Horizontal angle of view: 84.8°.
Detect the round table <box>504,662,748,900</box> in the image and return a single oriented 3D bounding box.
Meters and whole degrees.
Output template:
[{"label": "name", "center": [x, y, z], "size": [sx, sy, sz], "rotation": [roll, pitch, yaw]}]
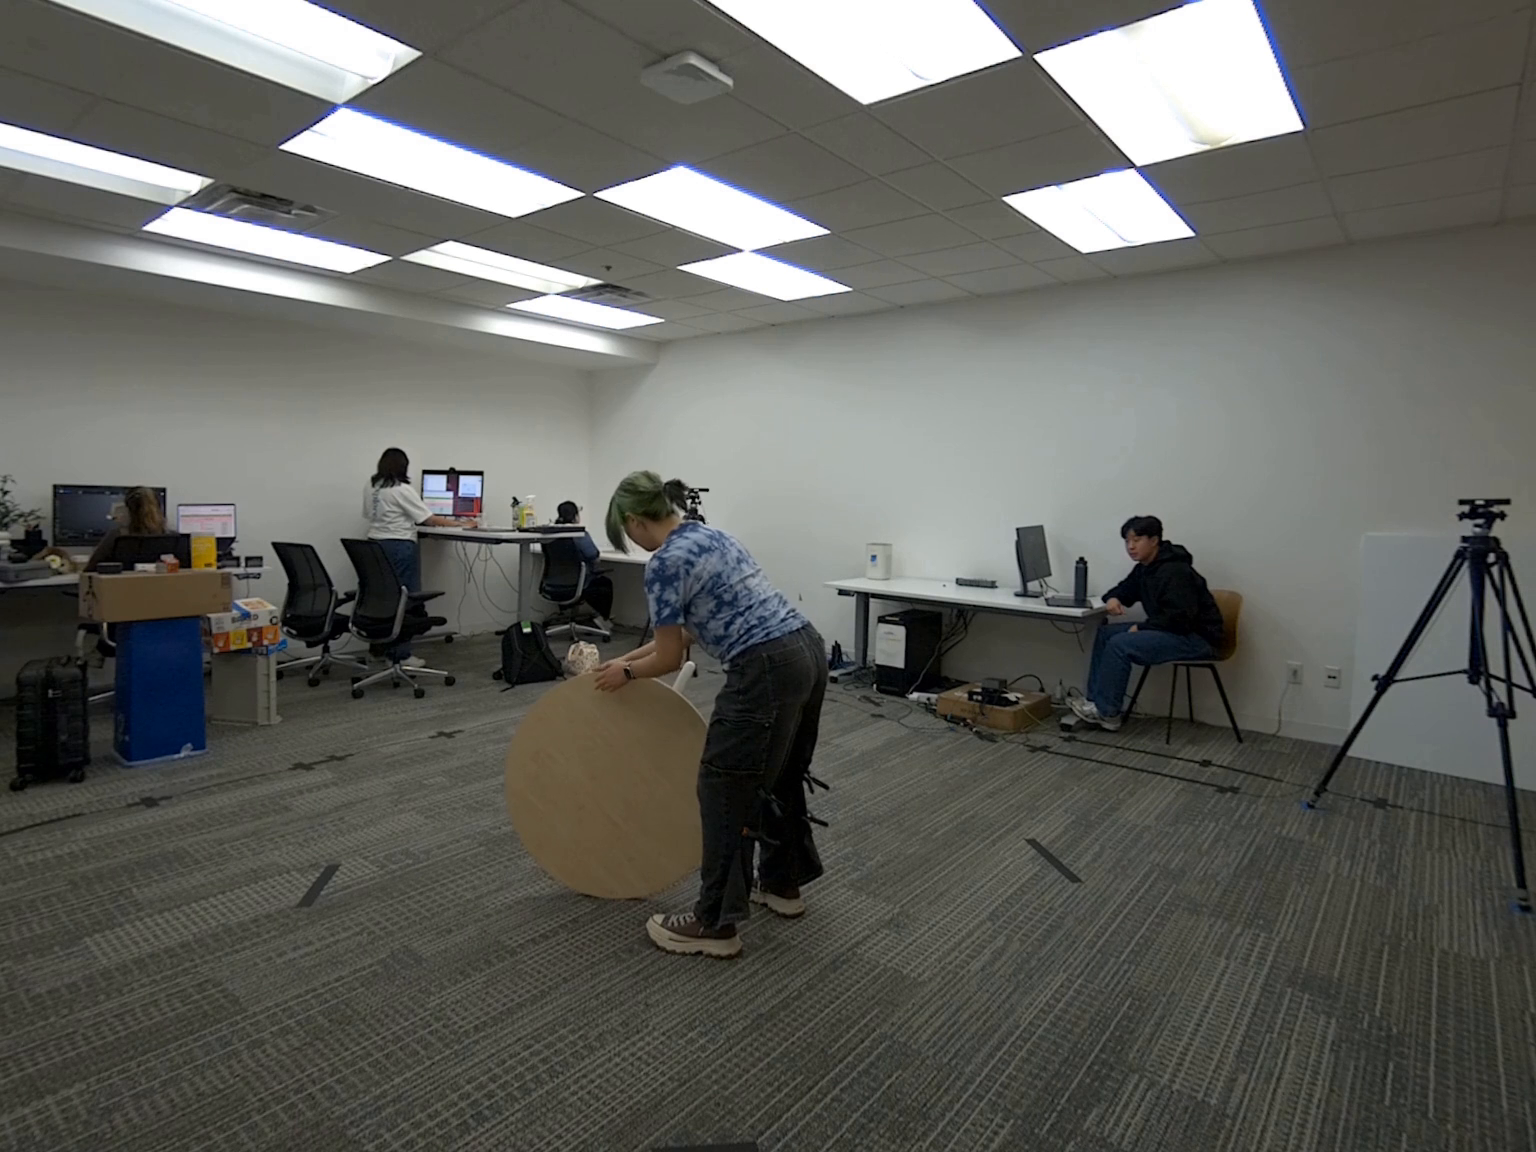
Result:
[{"label": "round table", "center": [-0.514, 0.695, 3.267], "size": [0.770, 0.764, 0.788], "rotation": [1, 1, 6]}]
